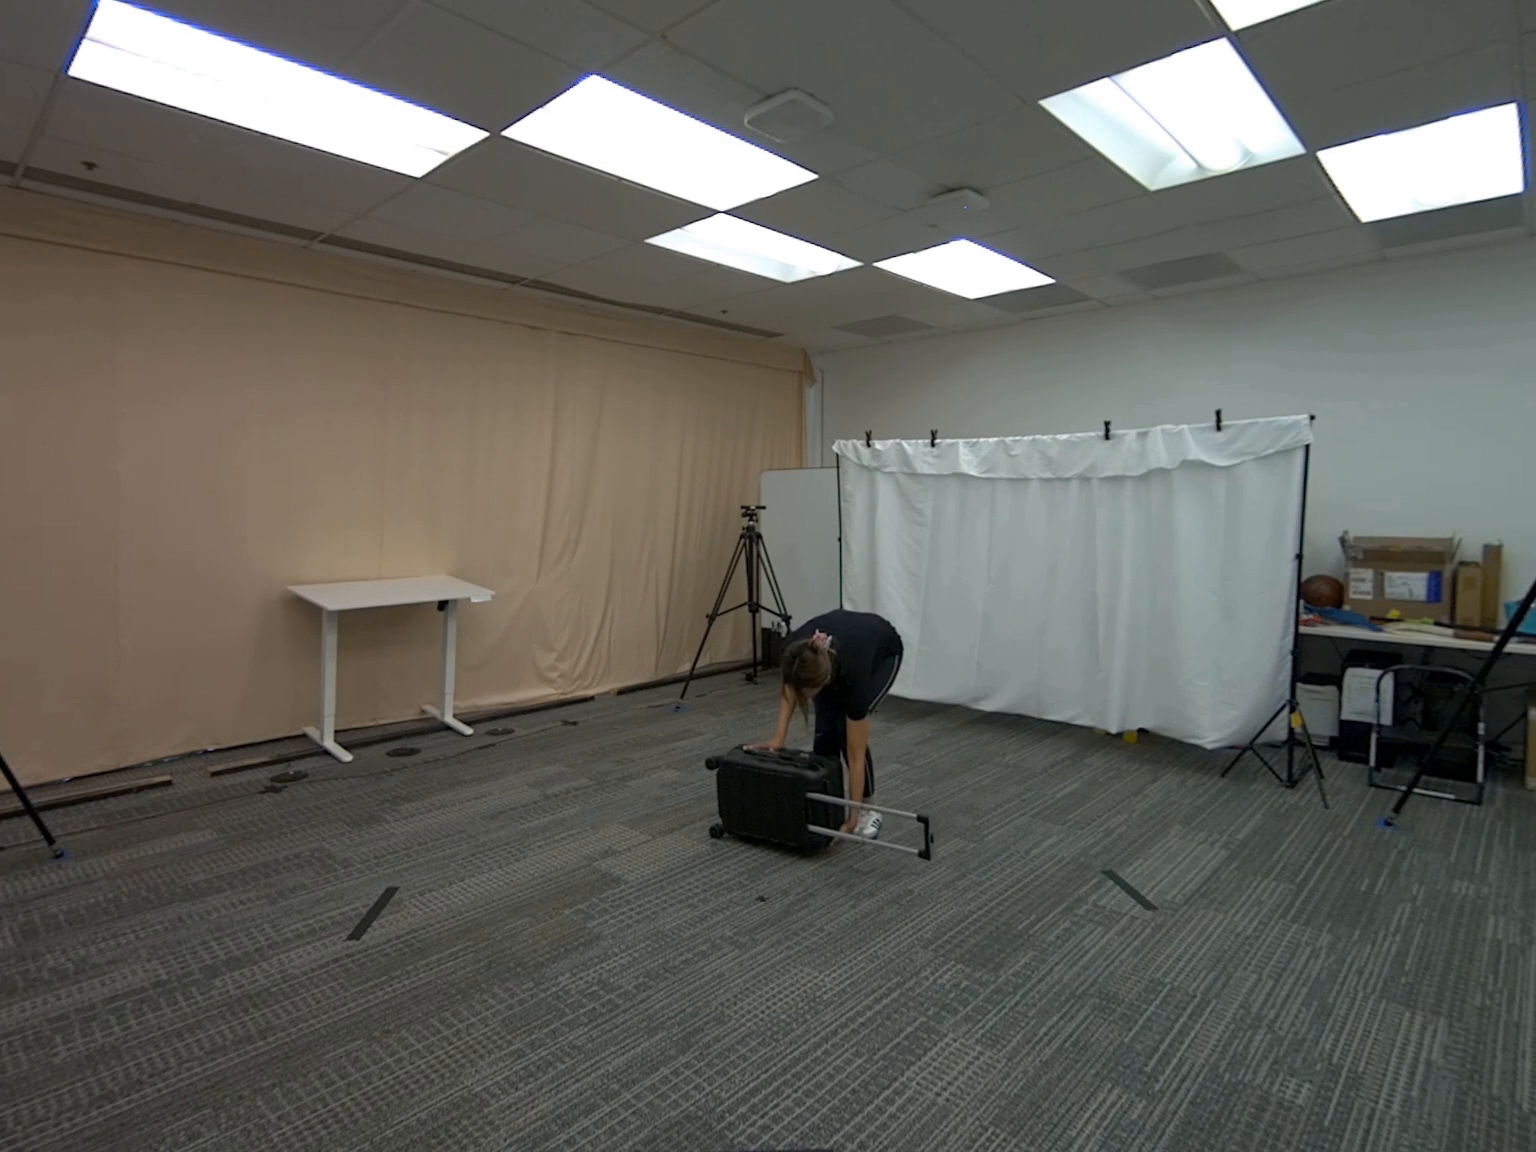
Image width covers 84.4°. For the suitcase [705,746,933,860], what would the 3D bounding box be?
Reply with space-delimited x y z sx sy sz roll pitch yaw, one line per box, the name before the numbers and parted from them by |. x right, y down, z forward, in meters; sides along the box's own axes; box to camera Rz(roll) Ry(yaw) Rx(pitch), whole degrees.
suitcase | 0.212 0.900 3.342 1.008 0.383 0.250 -1 2 34
